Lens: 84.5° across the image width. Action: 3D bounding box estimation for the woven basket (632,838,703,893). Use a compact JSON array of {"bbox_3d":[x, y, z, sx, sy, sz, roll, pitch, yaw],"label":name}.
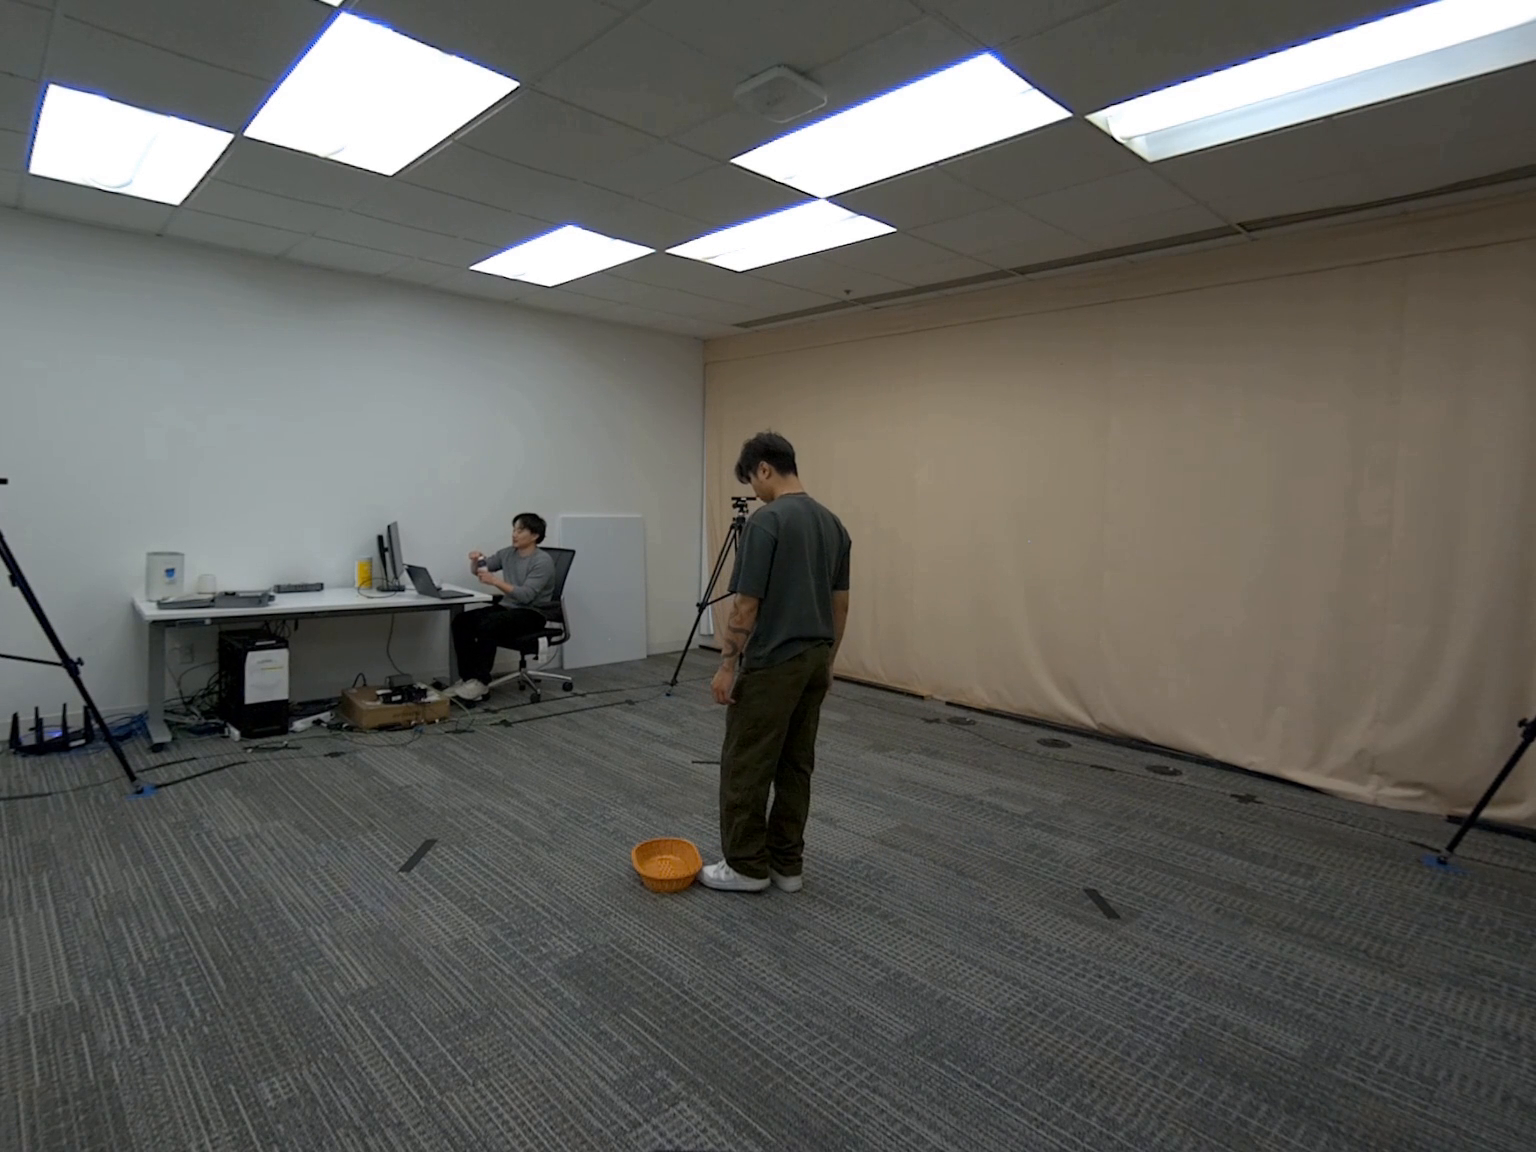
[{"bbox_3d":[-0.381,1.058,3.098,0.250,0.073,0.355,0,6,-13],"label":"woven basket"}]
